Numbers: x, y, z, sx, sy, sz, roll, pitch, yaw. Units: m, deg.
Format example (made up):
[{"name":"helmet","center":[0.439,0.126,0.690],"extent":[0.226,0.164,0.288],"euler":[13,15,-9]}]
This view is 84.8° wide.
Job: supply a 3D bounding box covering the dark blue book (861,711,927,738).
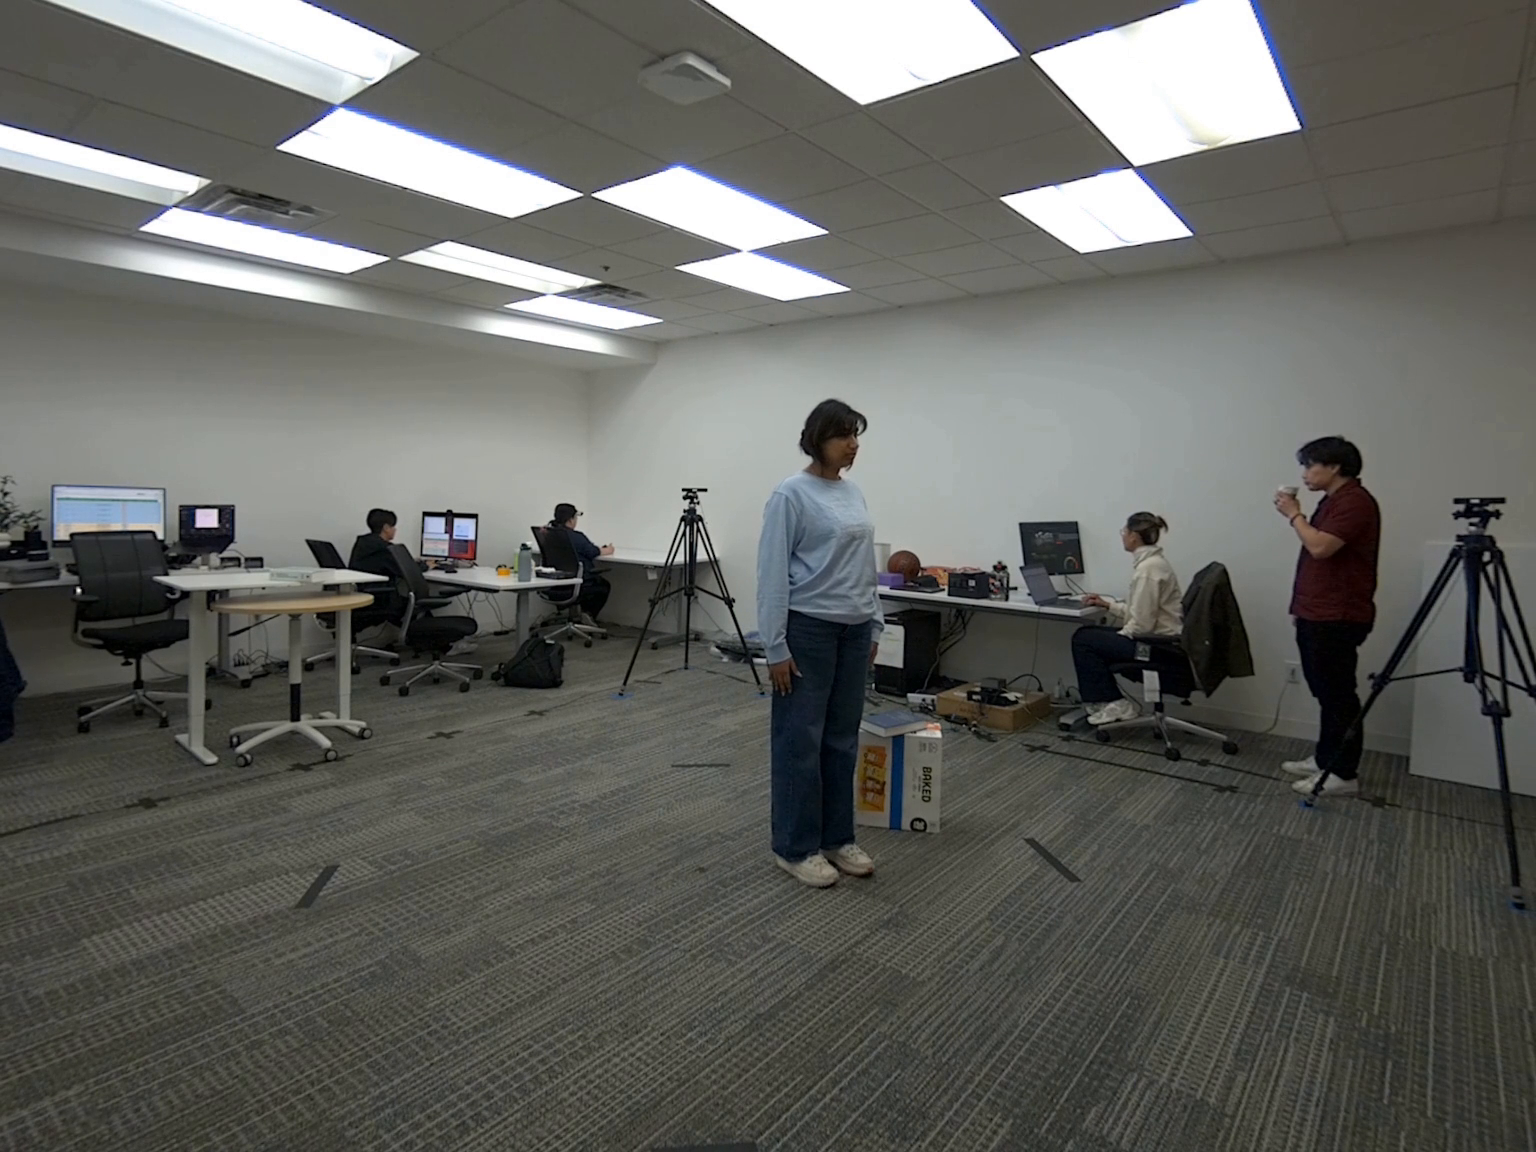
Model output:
[{"name":"dark blue book","center":[0.528,0.616,3.573],"extent":[0.238,0.045,0.169],"euler":[-4,9,-34]}]
